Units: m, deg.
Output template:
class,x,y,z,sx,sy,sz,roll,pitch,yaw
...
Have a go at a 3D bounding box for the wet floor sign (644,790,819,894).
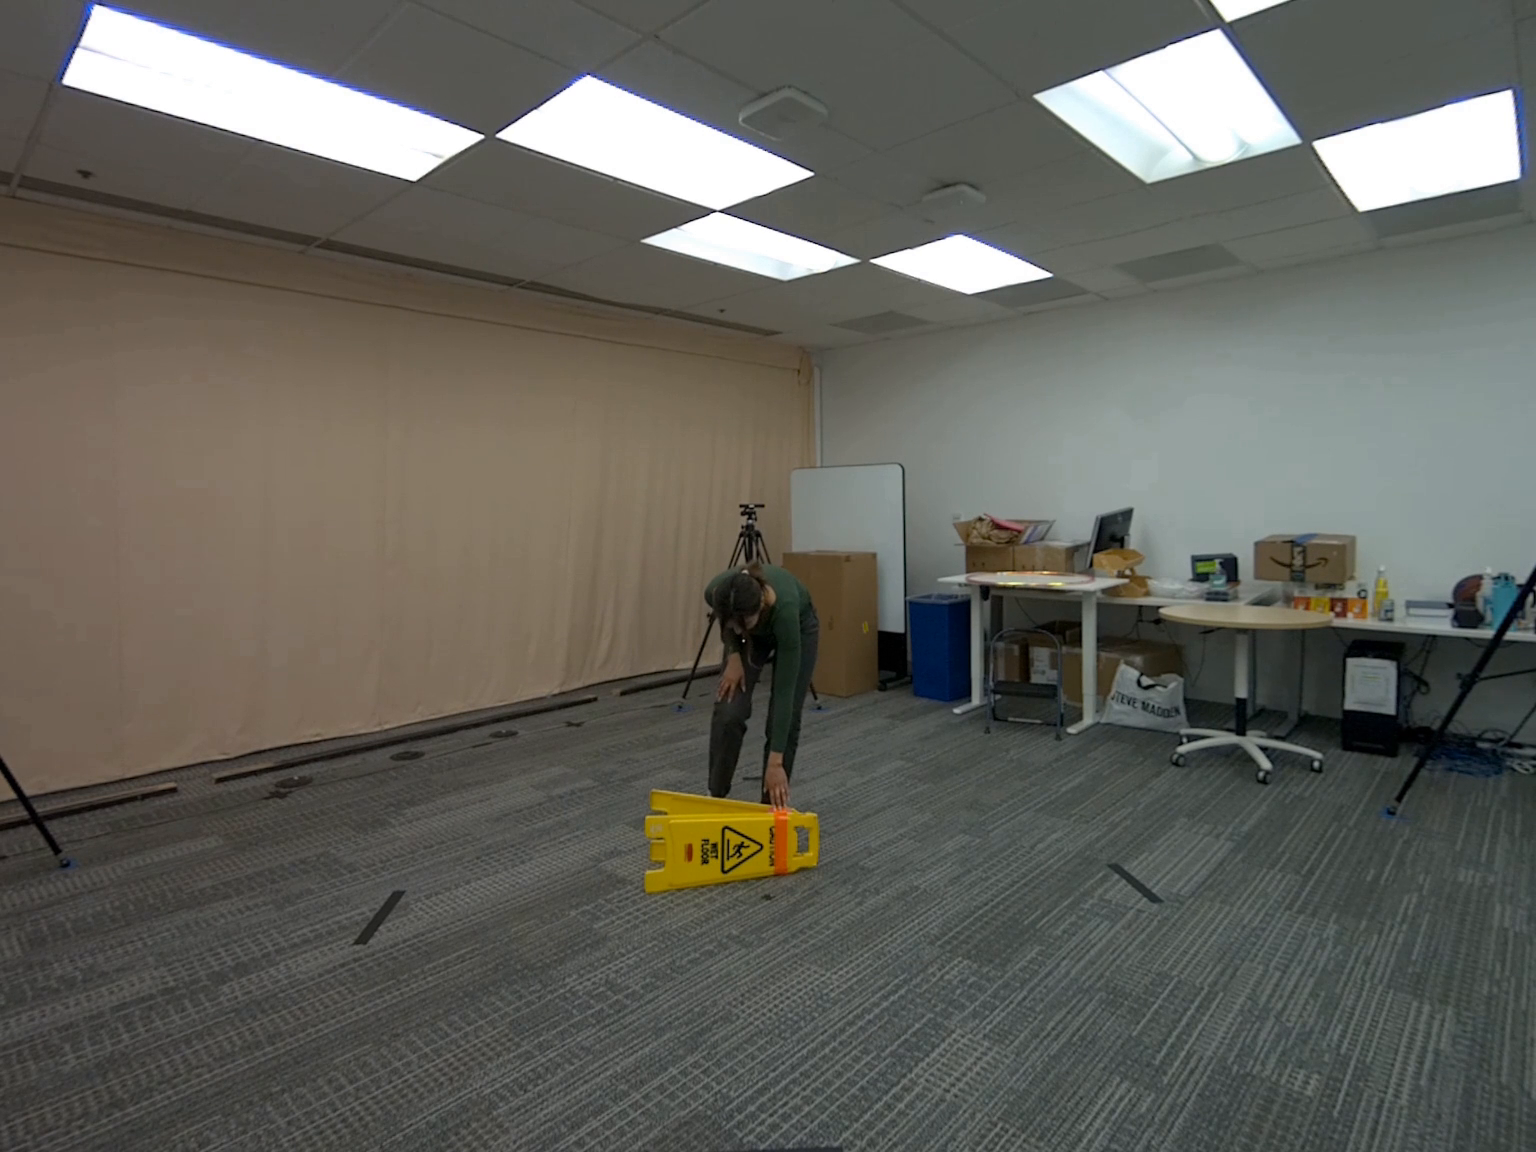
class,x,y,z,sx,sy,sz,roll,pitch,yaw
wet floor sign,-0.126,0.990,3.182,0.645,0.282,0.291,1,4,-2
